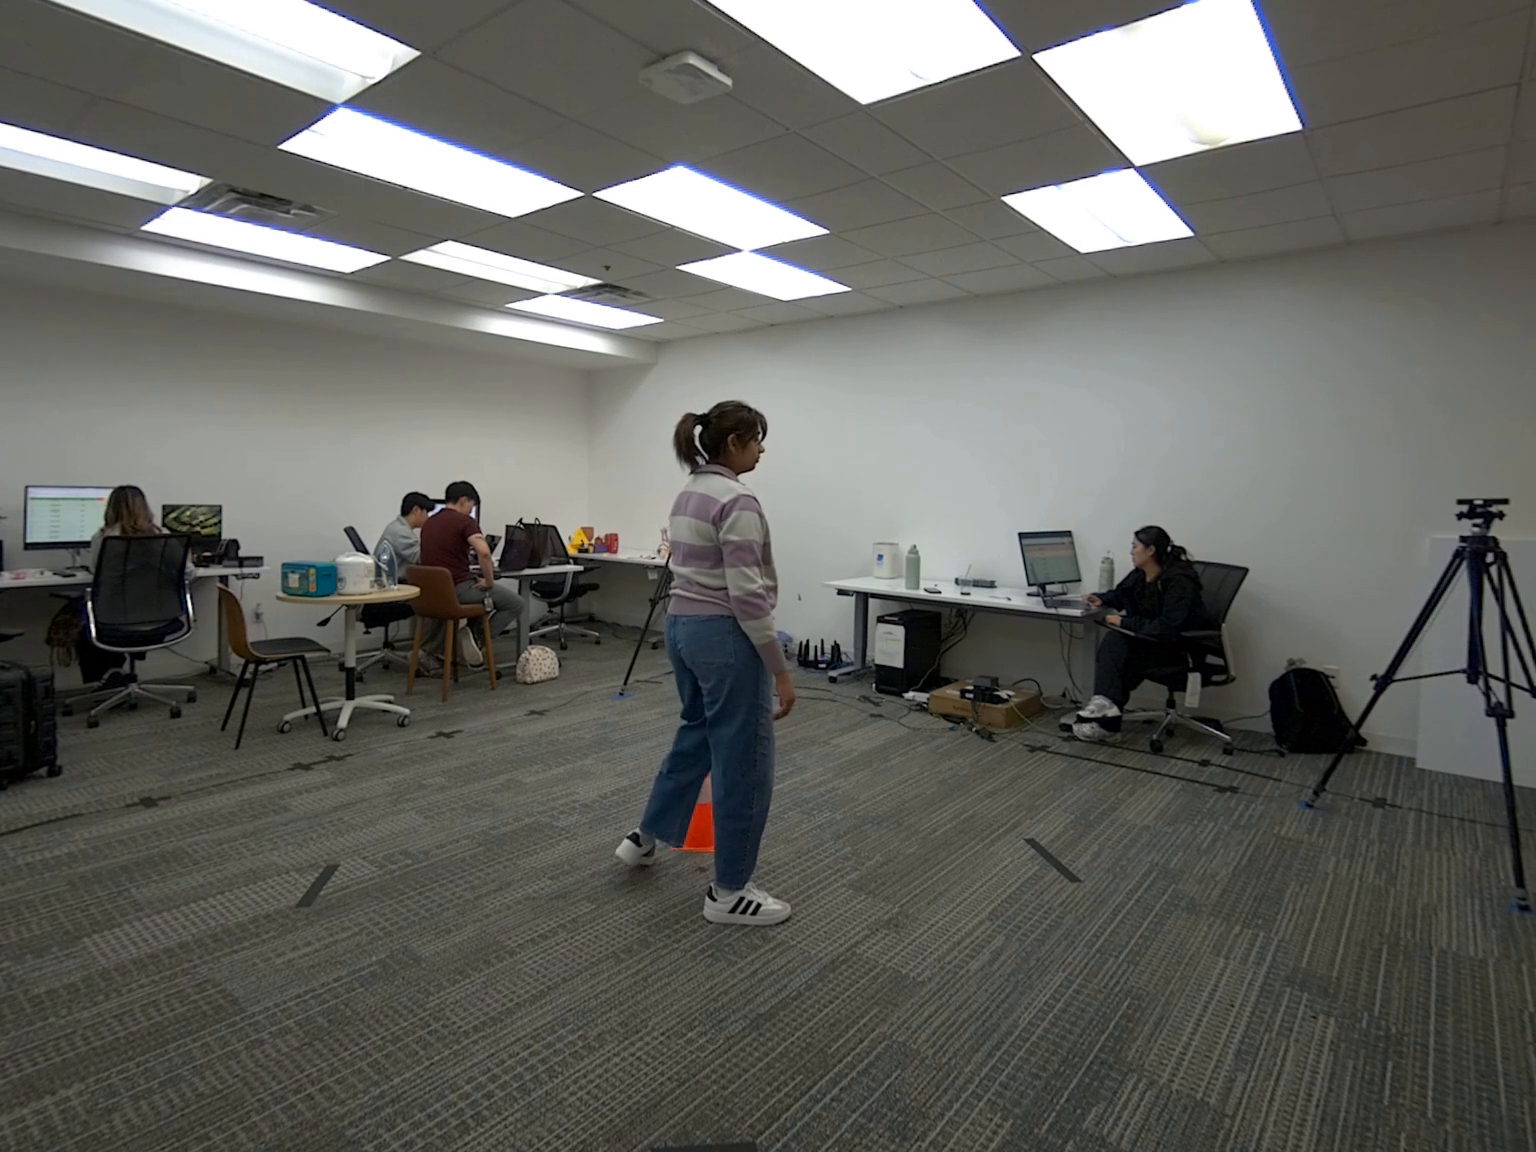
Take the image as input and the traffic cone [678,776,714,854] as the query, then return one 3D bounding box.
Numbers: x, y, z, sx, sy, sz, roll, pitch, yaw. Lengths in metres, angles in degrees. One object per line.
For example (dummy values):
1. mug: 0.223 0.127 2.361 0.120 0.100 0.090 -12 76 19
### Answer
1. traffic cone: -0.285 0.860 3.362 0.207 0.383 0.201 1 1 9
